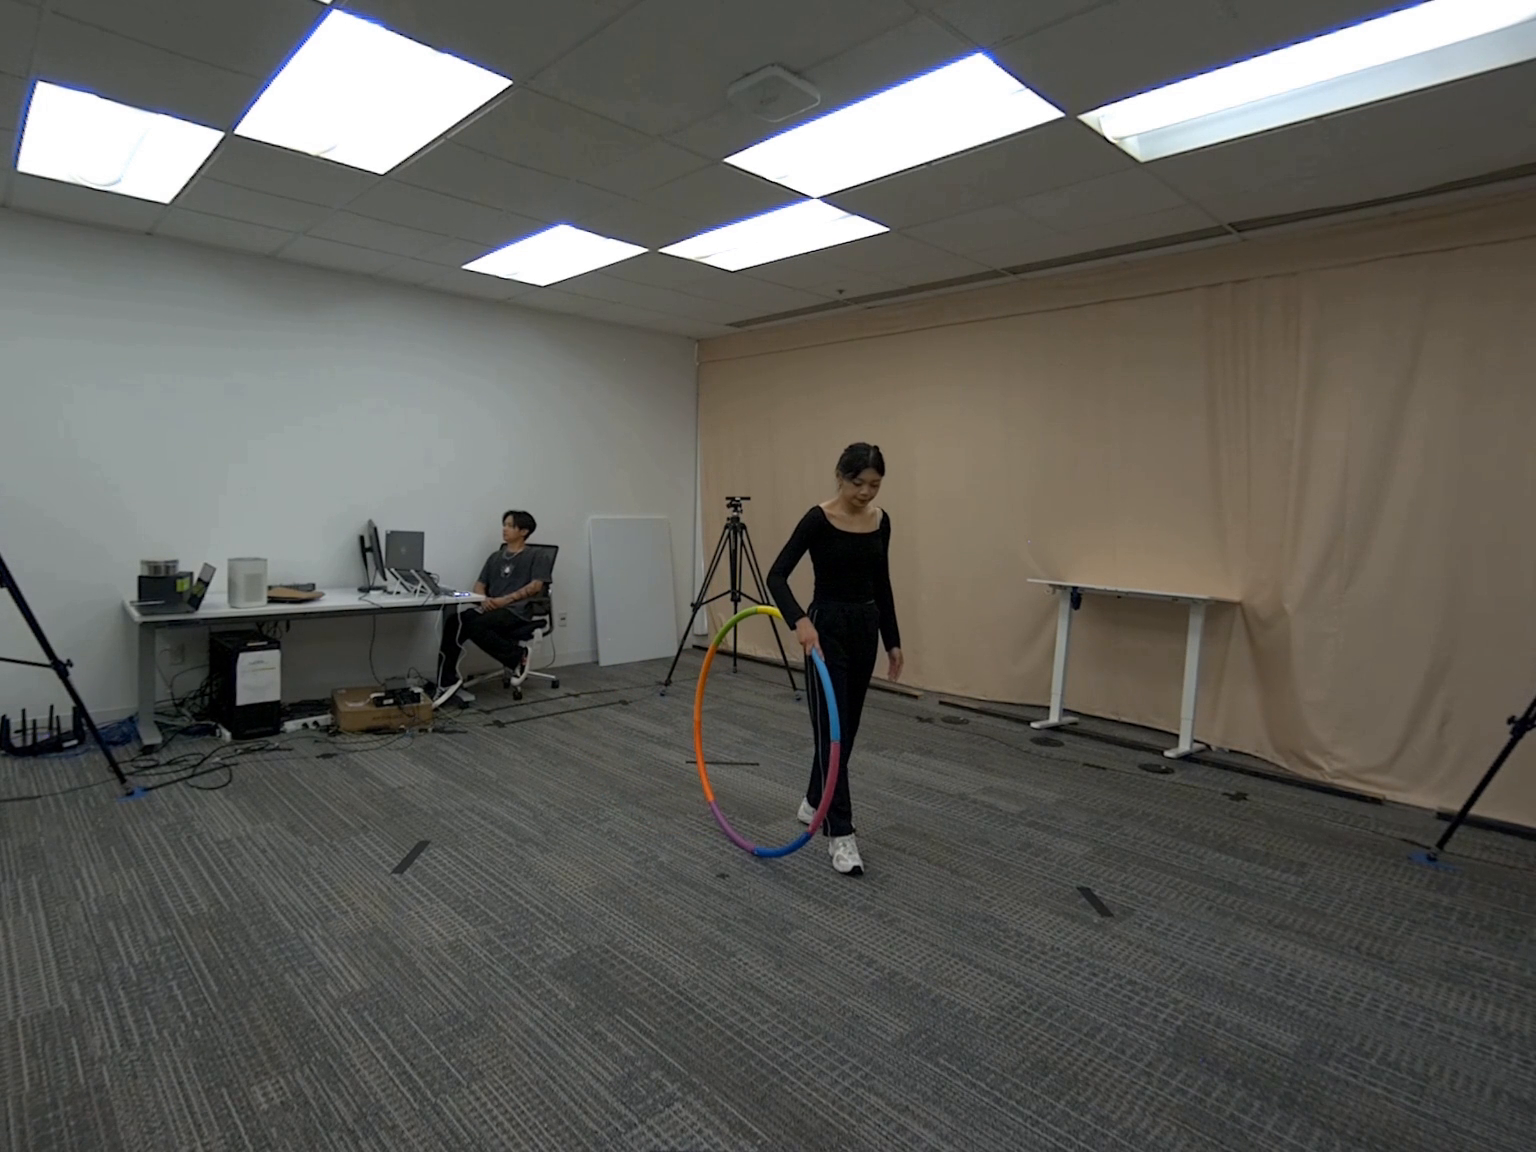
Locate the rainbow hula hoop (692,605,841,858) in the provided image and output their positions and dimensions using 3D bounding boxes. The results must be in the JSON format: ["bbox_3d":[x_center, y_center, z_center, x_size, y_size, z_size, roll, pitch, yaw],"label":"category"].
[{"bbox_3d":[-0.049,0.606,3.342,0.035,0.978,1.002,5,1,-33],"label":"rainbow hula hoop"}]
